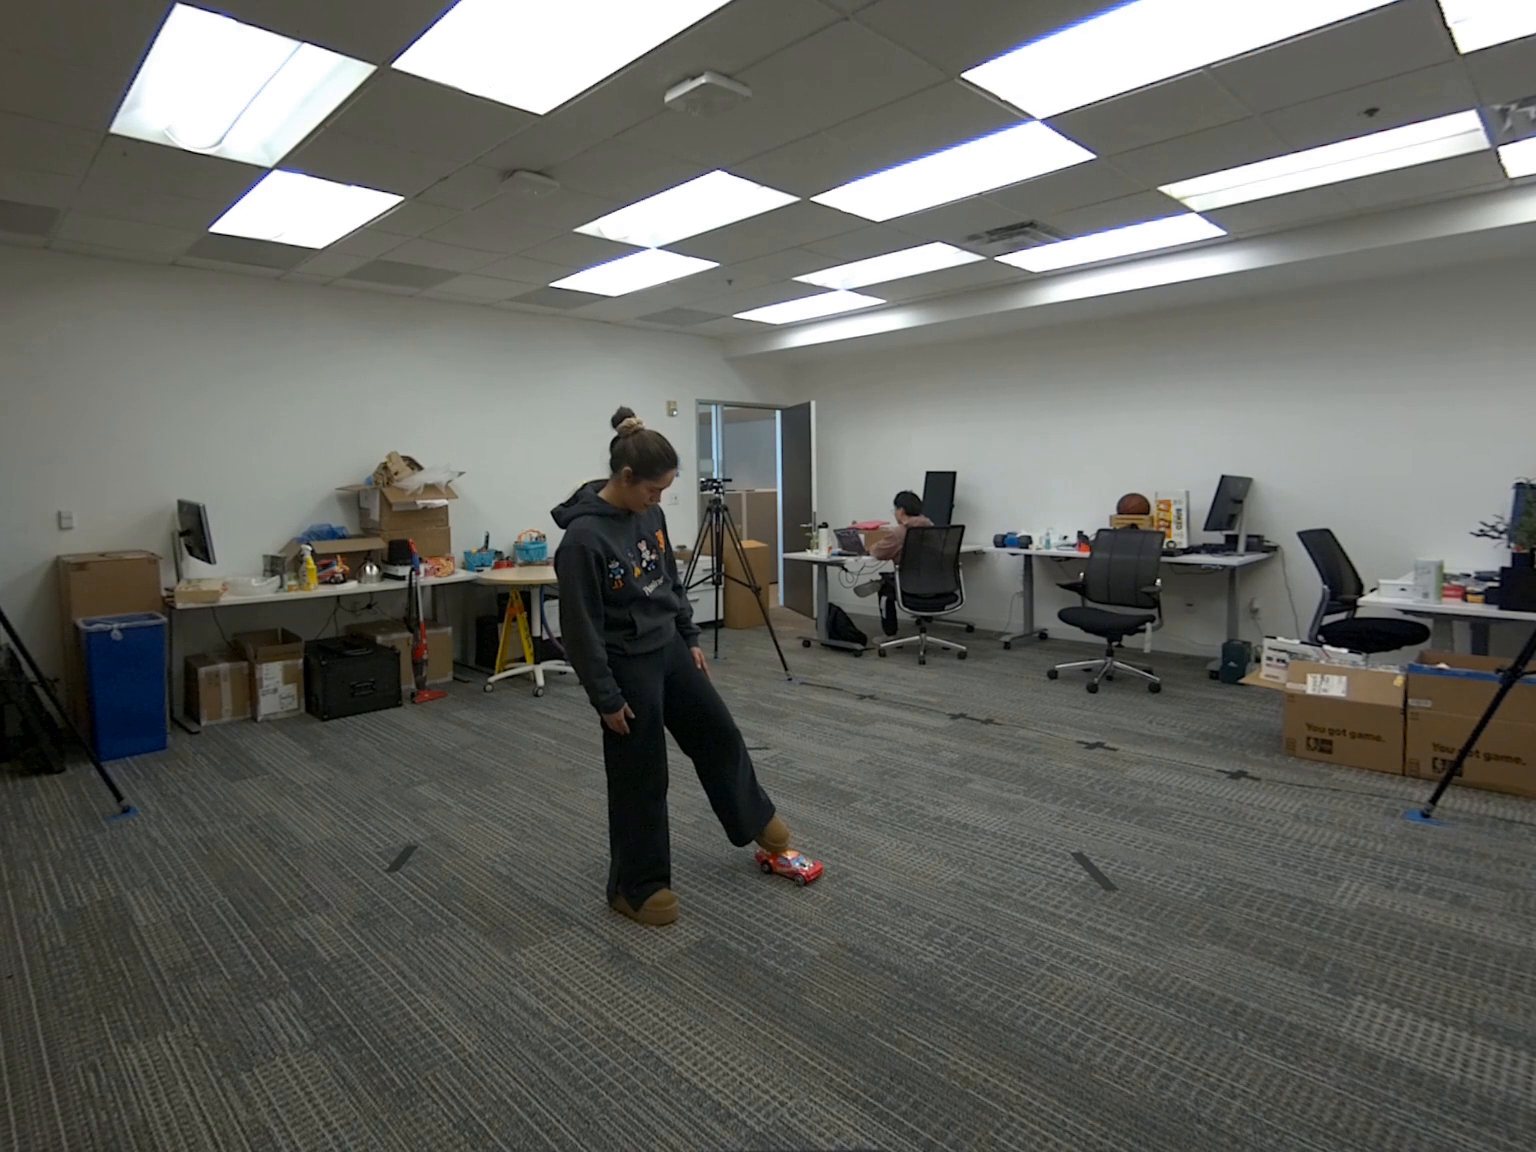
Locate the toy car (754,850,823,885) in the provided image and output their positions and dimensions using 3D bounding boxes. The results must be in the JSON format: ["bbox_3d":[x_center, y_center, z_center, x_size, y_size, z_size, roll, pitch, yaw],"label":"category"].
[{"bbox_3d":[0.068,1.022,3.015,0.263,0.082,0.127,16,15,39],"label":"toy car"}]
